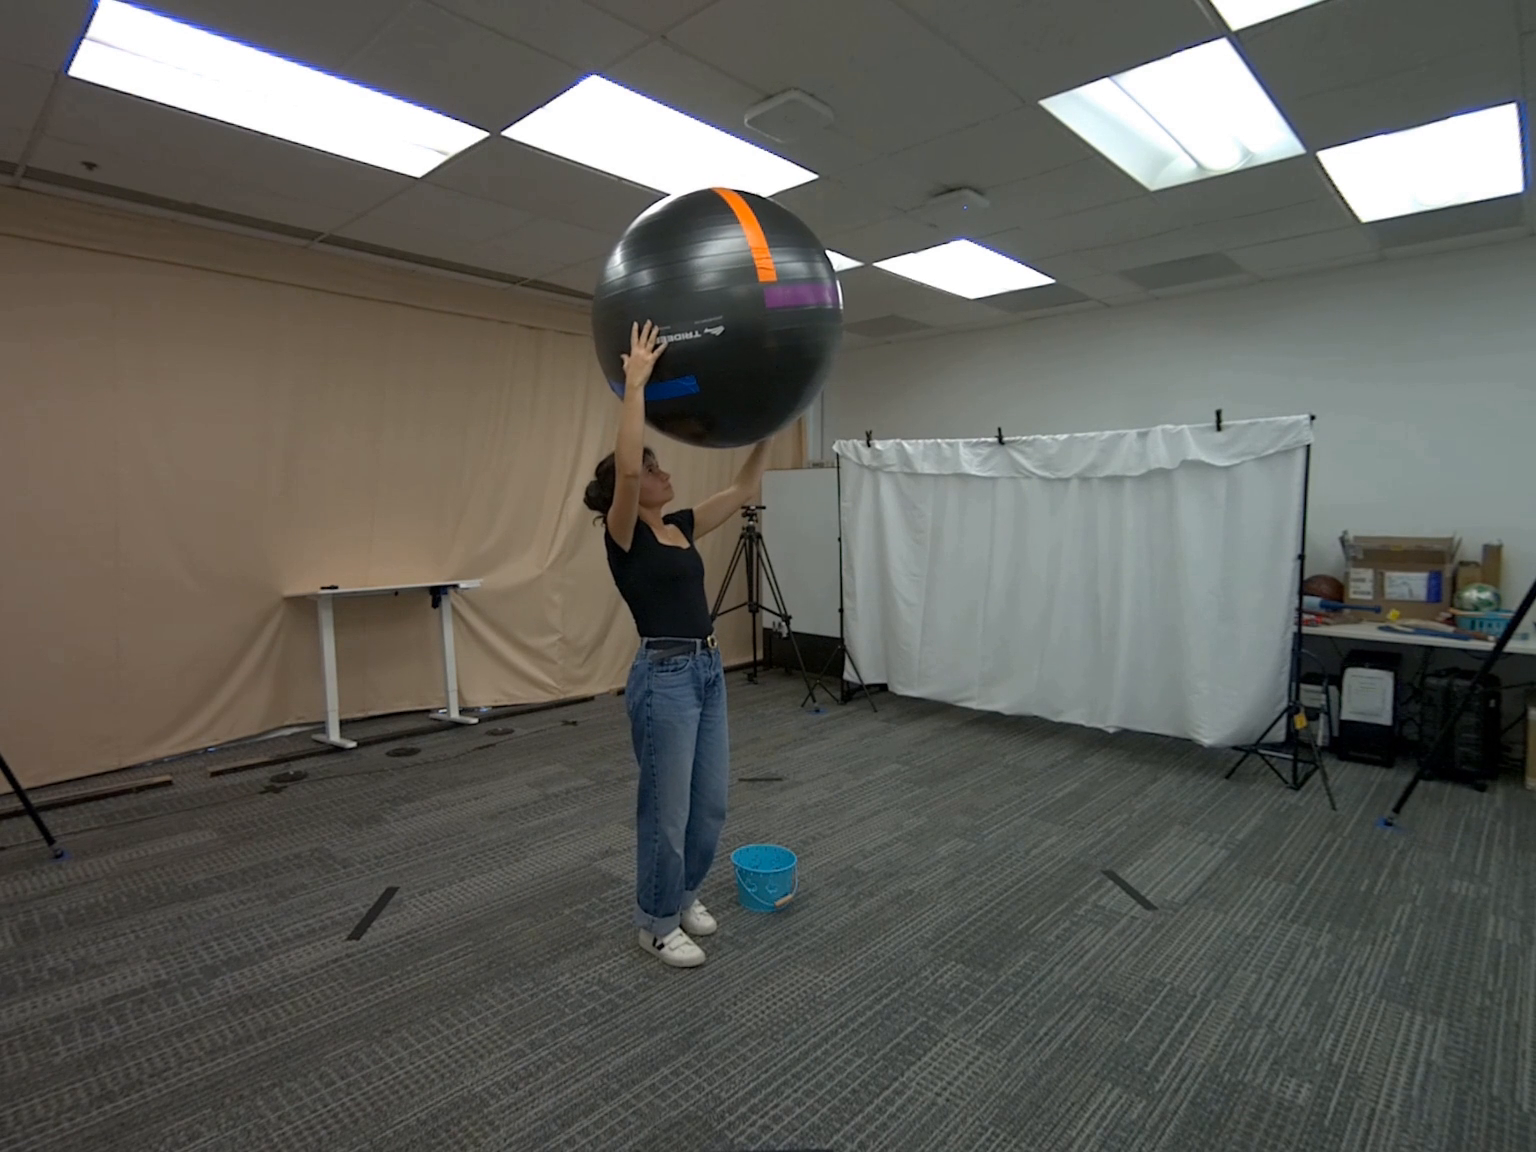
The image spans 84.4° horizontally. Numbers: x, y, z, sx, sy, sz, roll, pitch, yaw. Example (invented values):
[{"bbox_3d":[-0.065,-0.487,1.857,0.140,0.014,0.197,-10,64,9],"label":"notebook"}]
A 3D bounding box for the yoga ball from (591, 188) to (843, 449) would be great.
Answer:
[{"bbox_3d":[-0.154,-0.767,2.546,0.757,0.756,0.760,0,4,-2],"label":"yoga ball"}]
